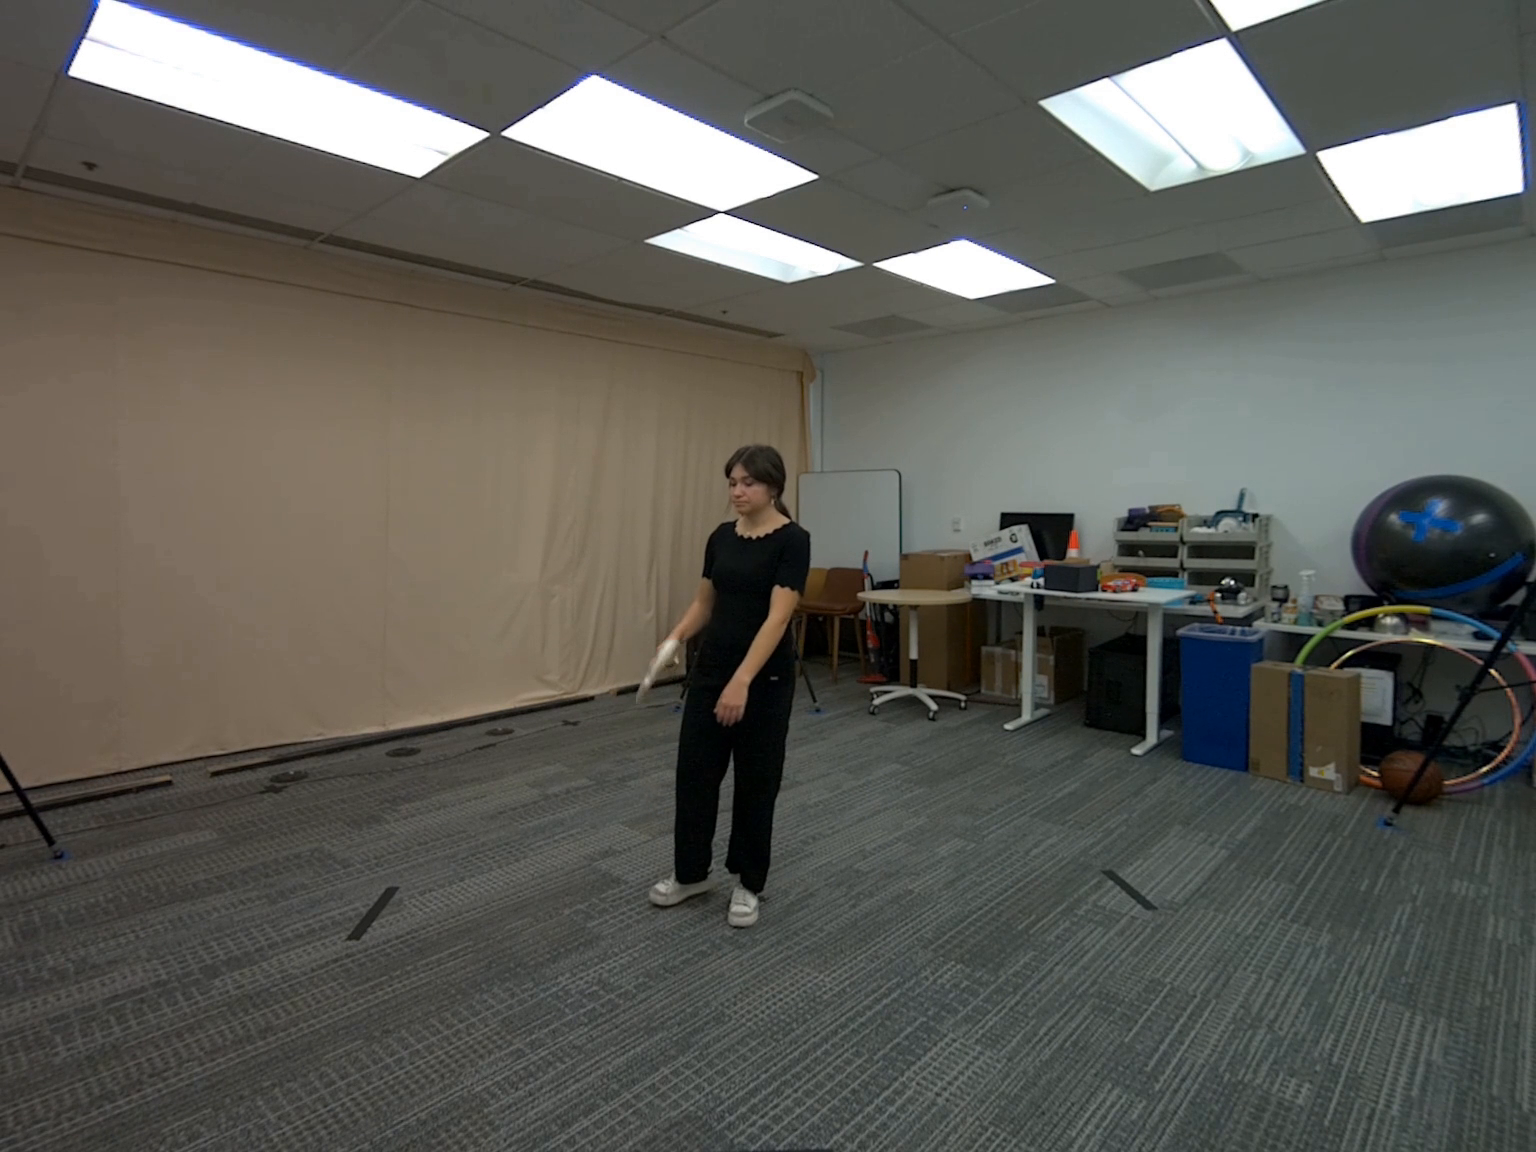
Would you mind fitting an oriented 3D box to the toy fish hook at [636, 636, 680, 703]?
[{"bbox_3d":[-0.349,0.310,2.675,0.048,0.224,0.504,34,-8,3],"label":"toy fish hook"}]
